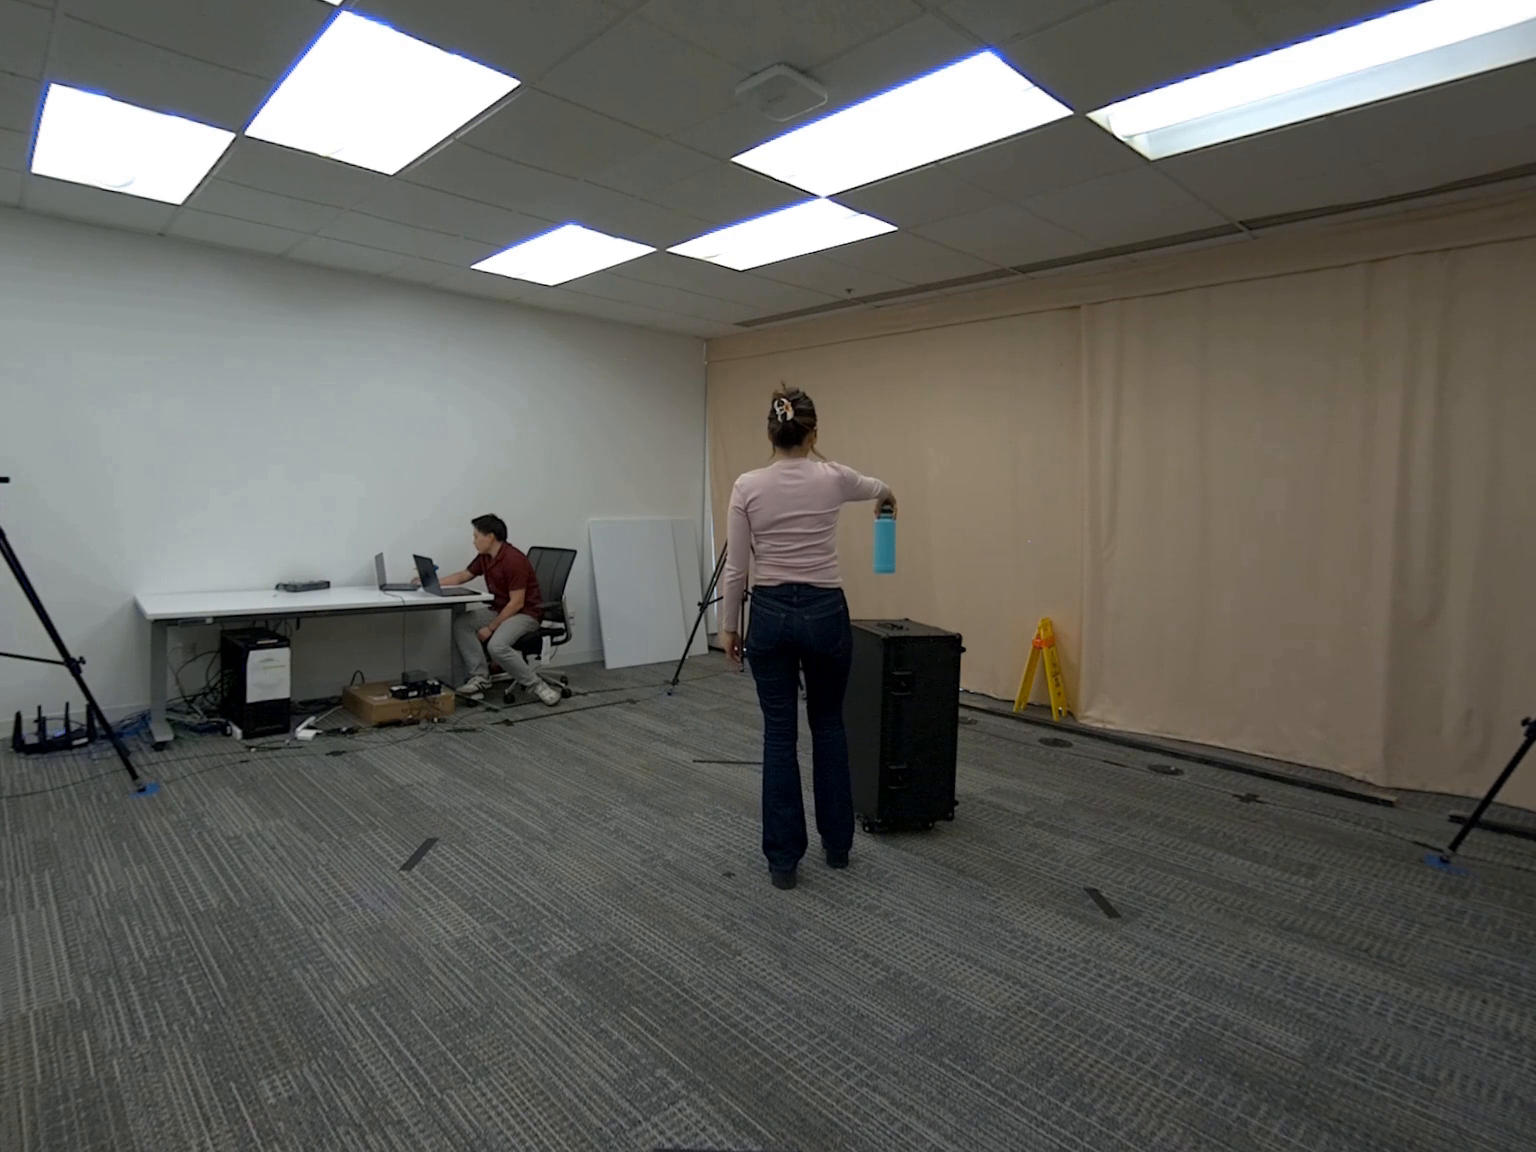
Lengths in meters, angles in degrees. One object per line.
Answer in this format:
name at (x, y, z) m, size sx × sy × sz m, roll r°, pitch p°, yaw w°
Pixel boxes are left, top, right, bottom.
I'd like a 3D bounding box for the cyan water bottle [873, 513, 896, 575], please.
cyan water bottle at (0.485, -0.157, 3.544) m, size 0.092 × 0.282 × 0.092 m, roll -1°, pitch 4°, yaw -1°
